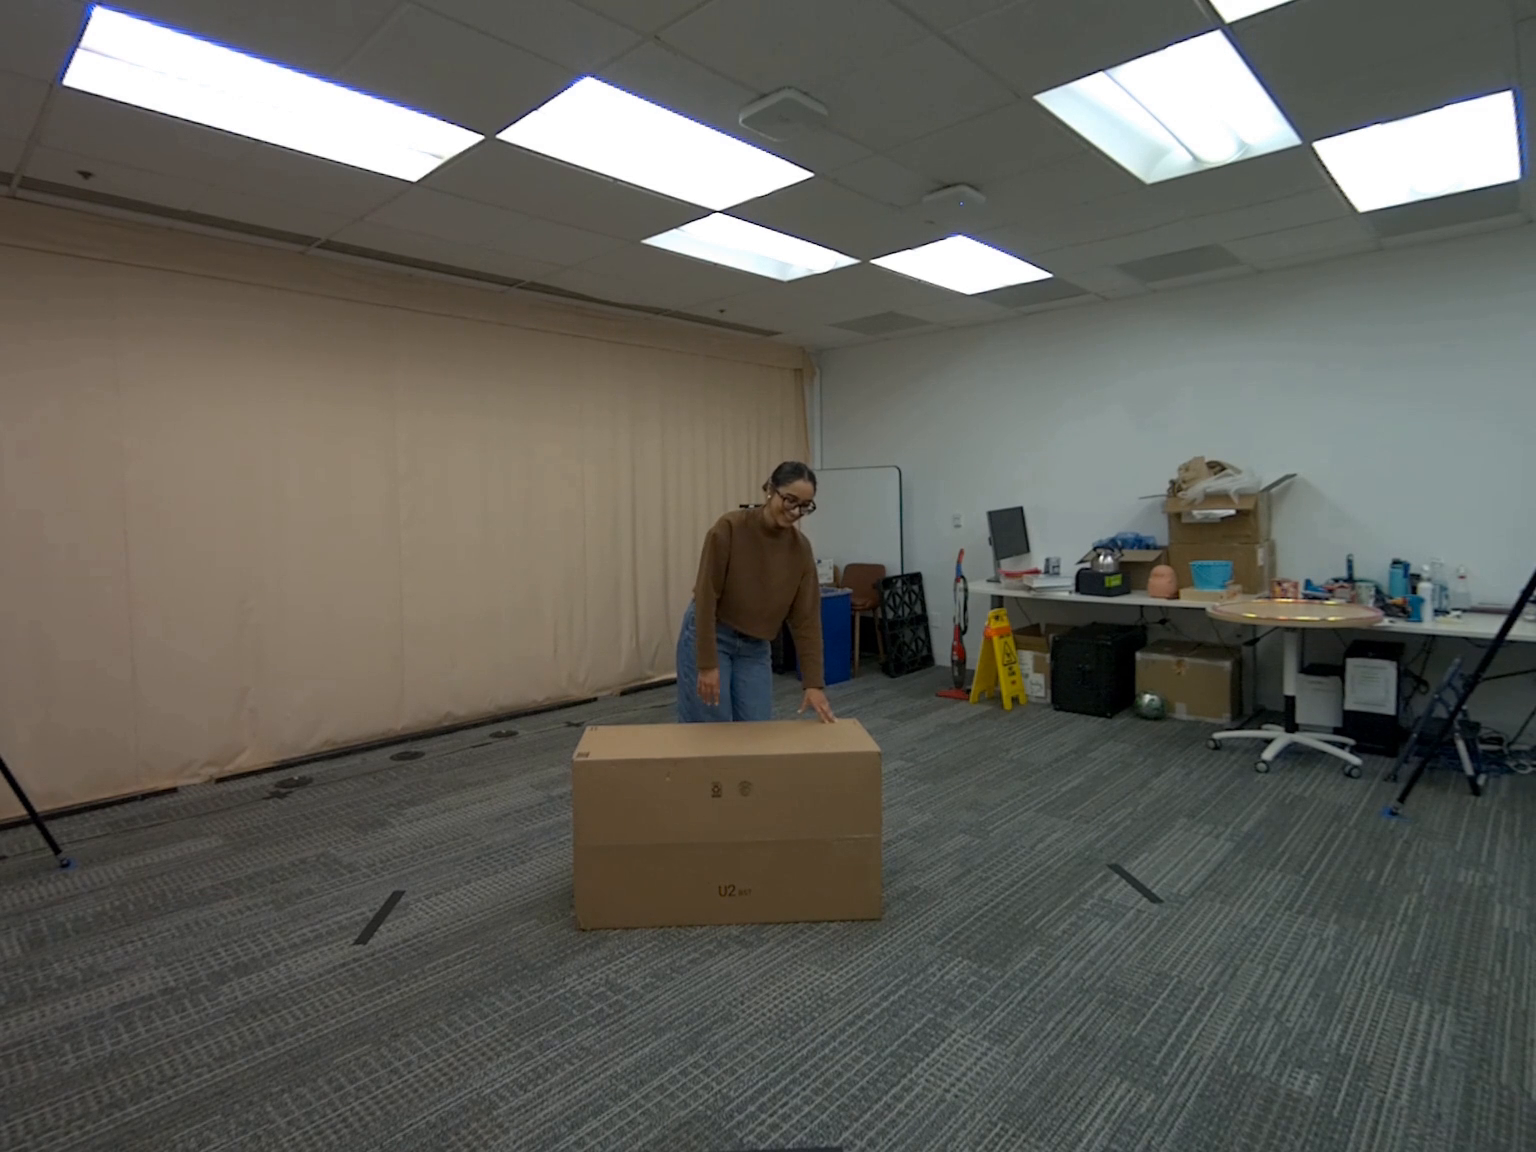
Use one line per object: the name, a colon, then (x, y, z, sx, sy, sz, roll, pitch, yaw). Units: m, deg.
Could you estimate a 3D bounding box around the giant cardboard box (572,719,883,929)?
giant cardboard box: (-0.151, 0.857, 2.986, 1.025, 0.582, 0.449, -1, 5, -2)
